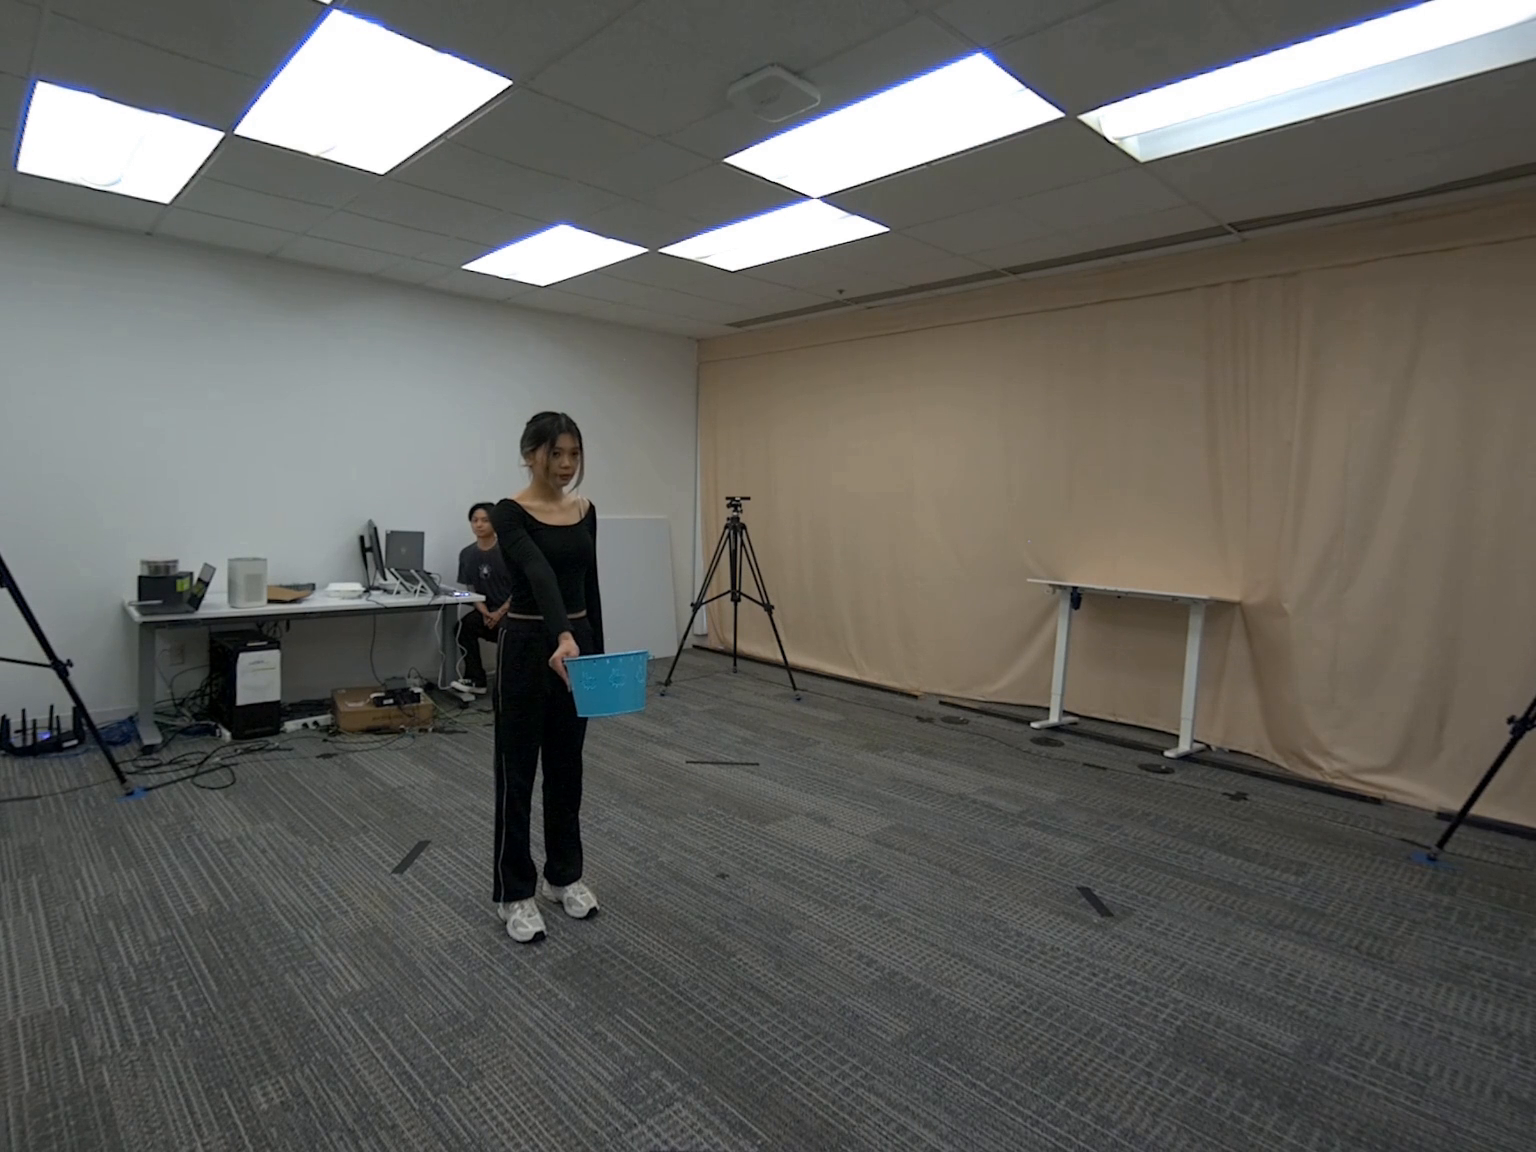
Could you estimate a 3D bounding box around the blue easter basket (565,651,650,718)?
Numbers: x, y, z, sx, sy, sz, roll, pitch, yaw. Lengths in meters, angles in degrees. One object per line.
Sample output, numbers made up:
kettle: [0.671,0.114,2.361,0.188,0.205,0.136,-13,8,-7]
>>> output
blue easter basket: [-0.437,0.301,2.245,0.243,0.156,0.243,-4,-2,-2]
